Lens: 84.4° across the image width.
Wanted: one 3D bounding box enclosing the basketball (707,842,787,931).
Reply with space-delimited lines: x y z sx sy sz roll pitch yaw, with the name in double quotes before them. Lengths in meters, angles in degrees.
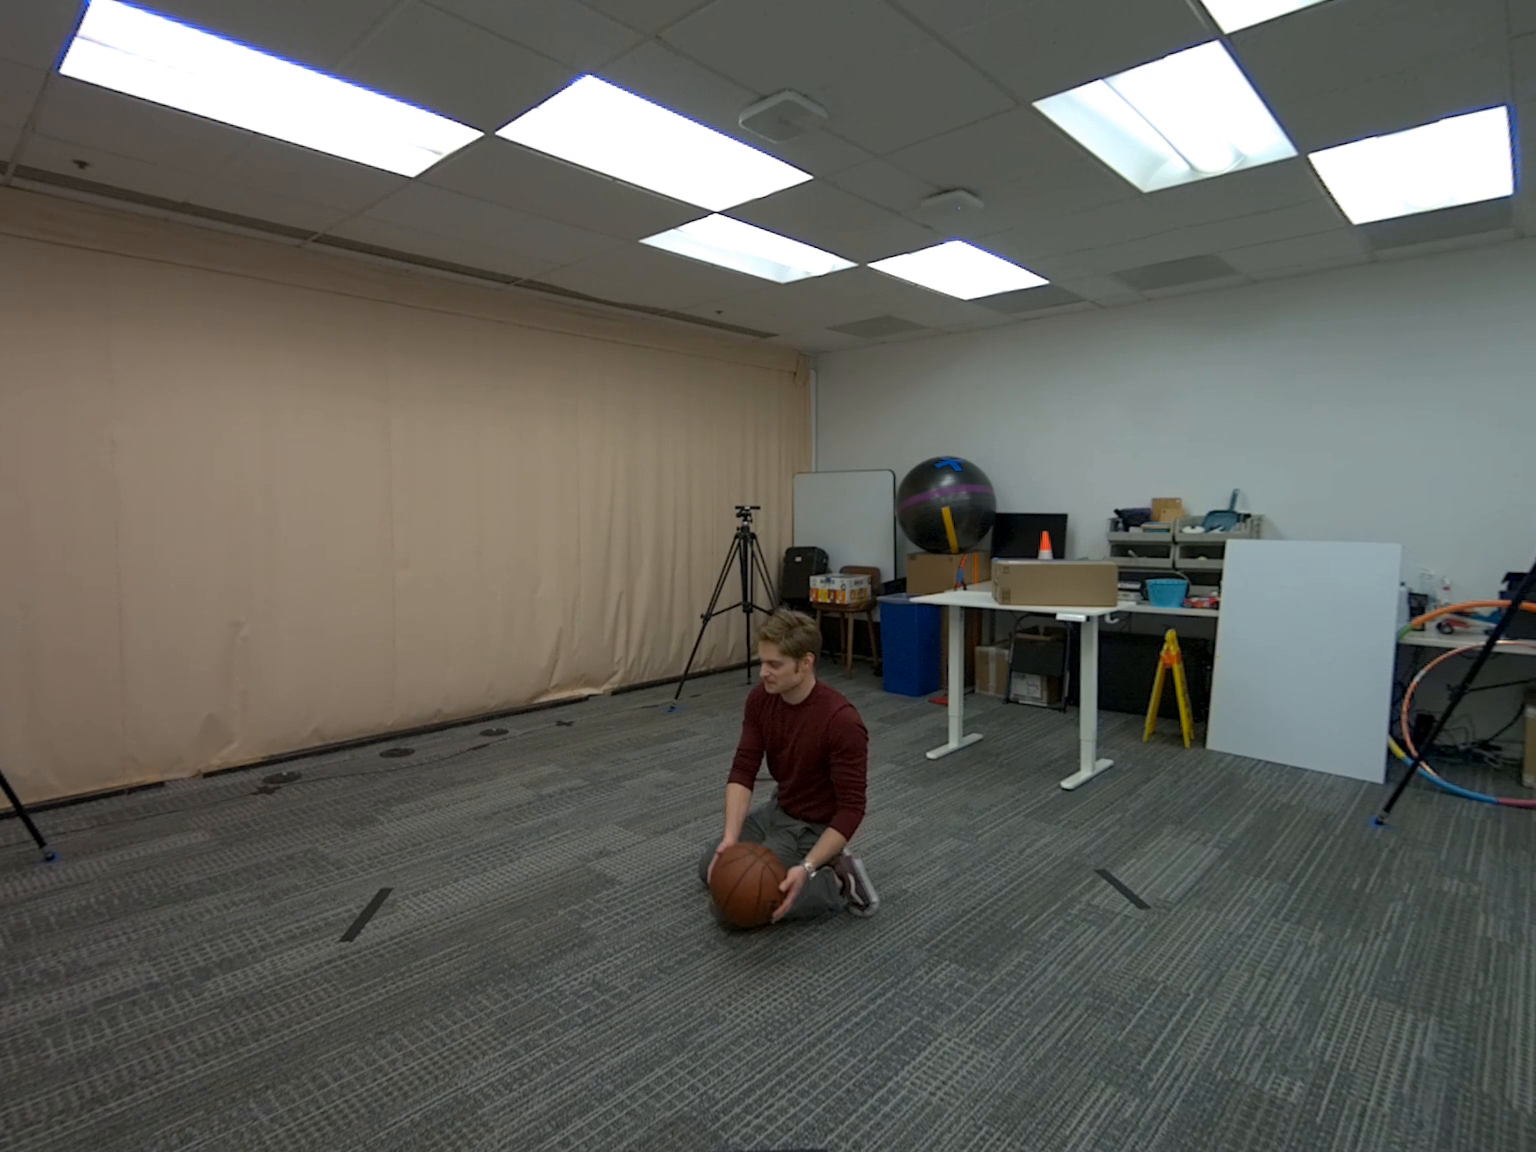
"basketball" -0.057 0.929 2.577 0.236 0.235 0.237 0 4 -2
